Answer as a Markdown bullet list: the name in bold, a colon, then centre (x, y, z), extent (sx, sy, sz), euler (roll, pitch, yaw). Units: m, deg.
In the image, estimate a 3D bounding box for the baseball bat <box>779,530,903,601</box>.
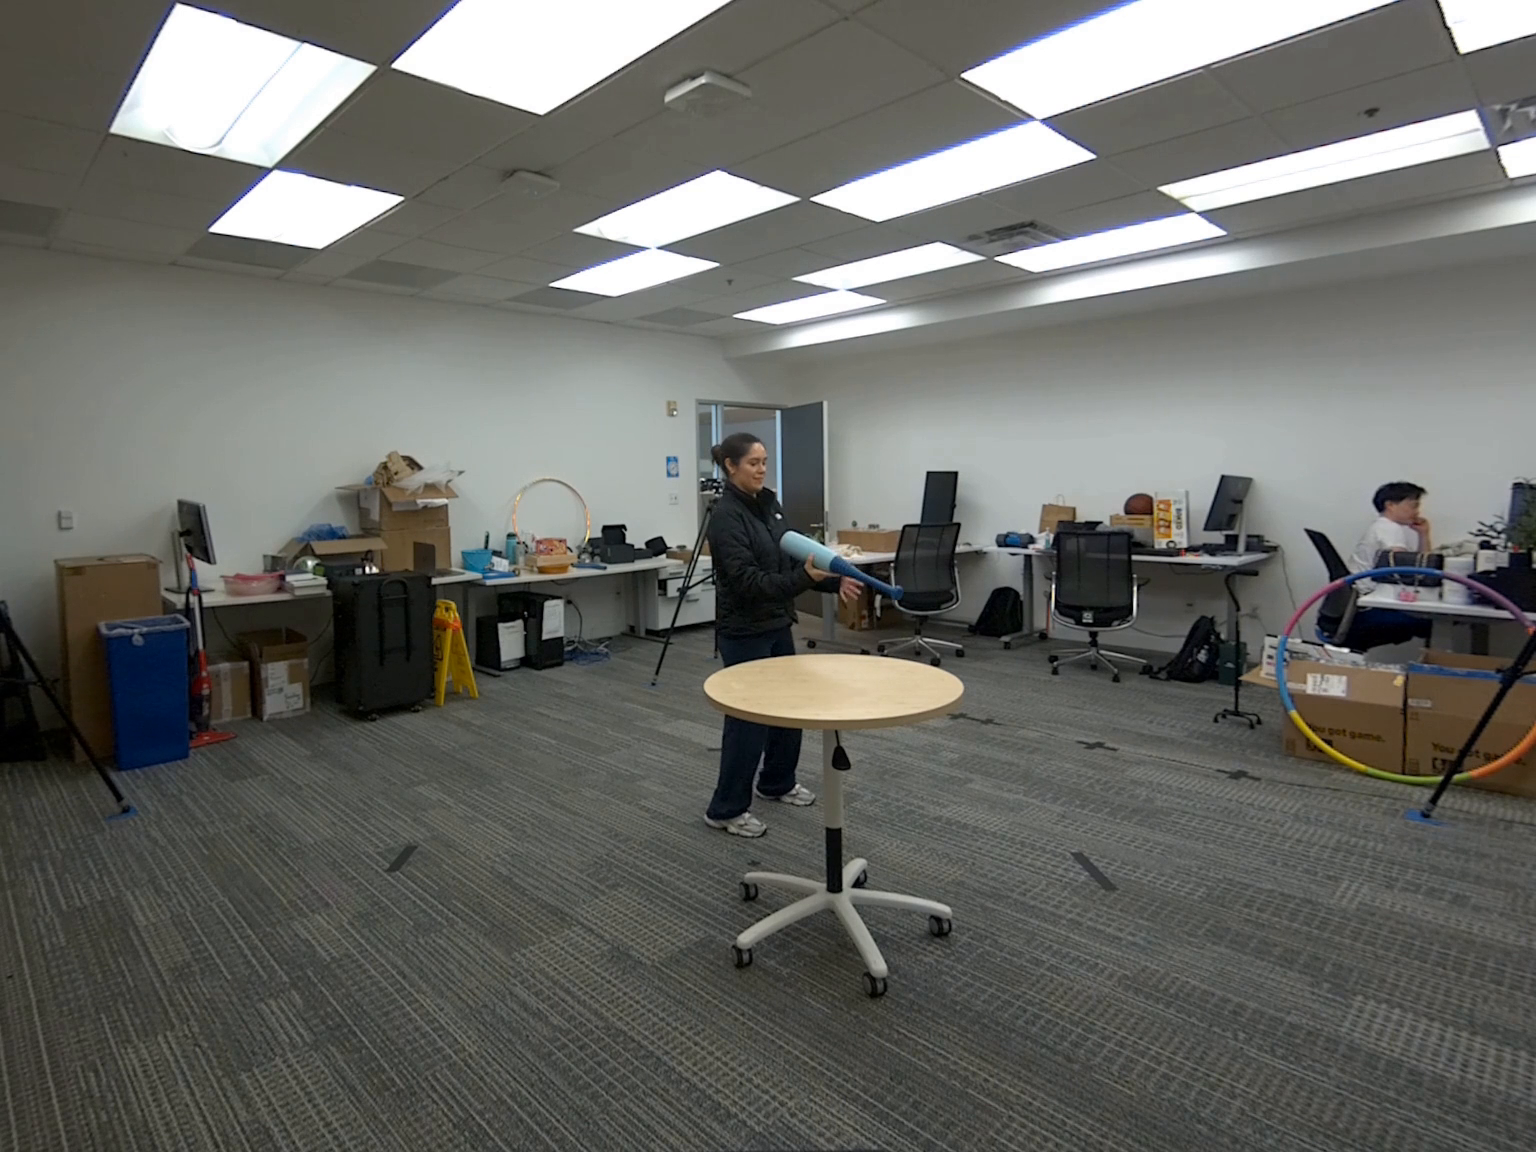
- **baseball bat**: centre (0.257, -0.036, 3.094), extent (0.087, 0.088, 0.564), euler (-5, 25, -44)
